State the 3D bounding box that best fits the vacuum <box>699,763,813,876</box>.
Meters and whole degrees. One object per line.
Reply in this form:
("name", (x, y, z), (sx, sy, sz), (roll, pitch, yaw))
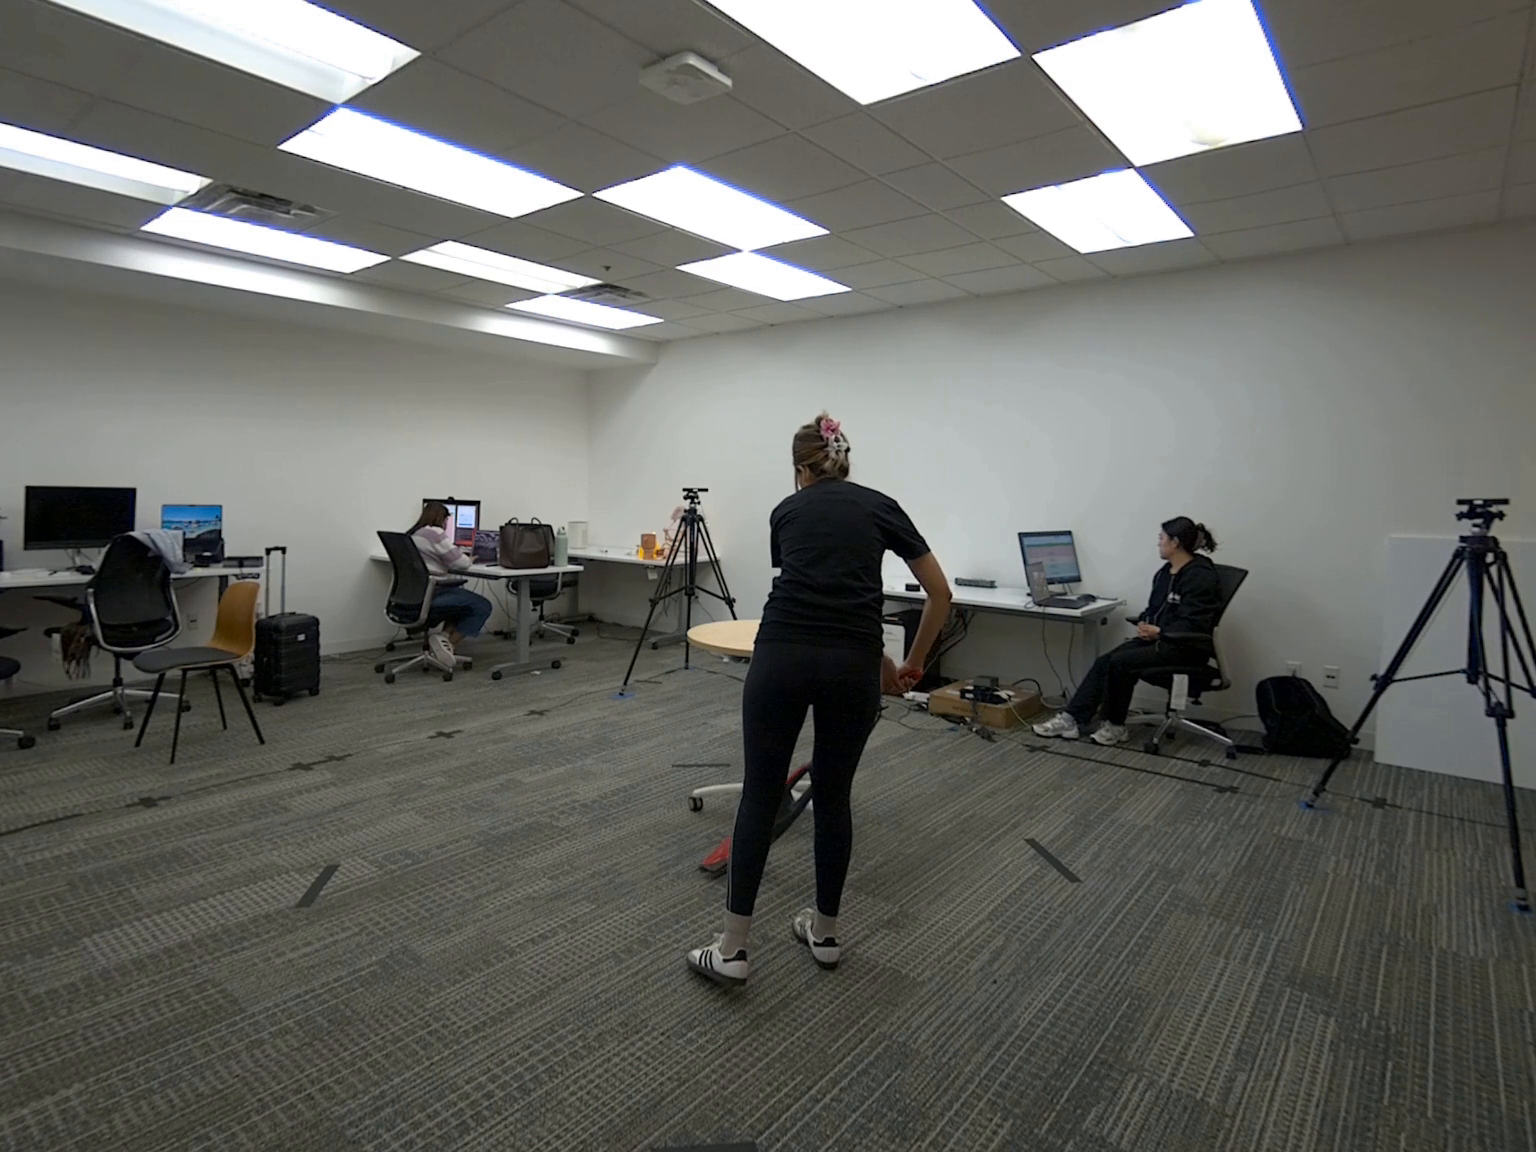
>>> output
("vacuum", (0.153, 0.678, 2.908), (0.147, 1.048, 0.247), (47, 25, 13))
